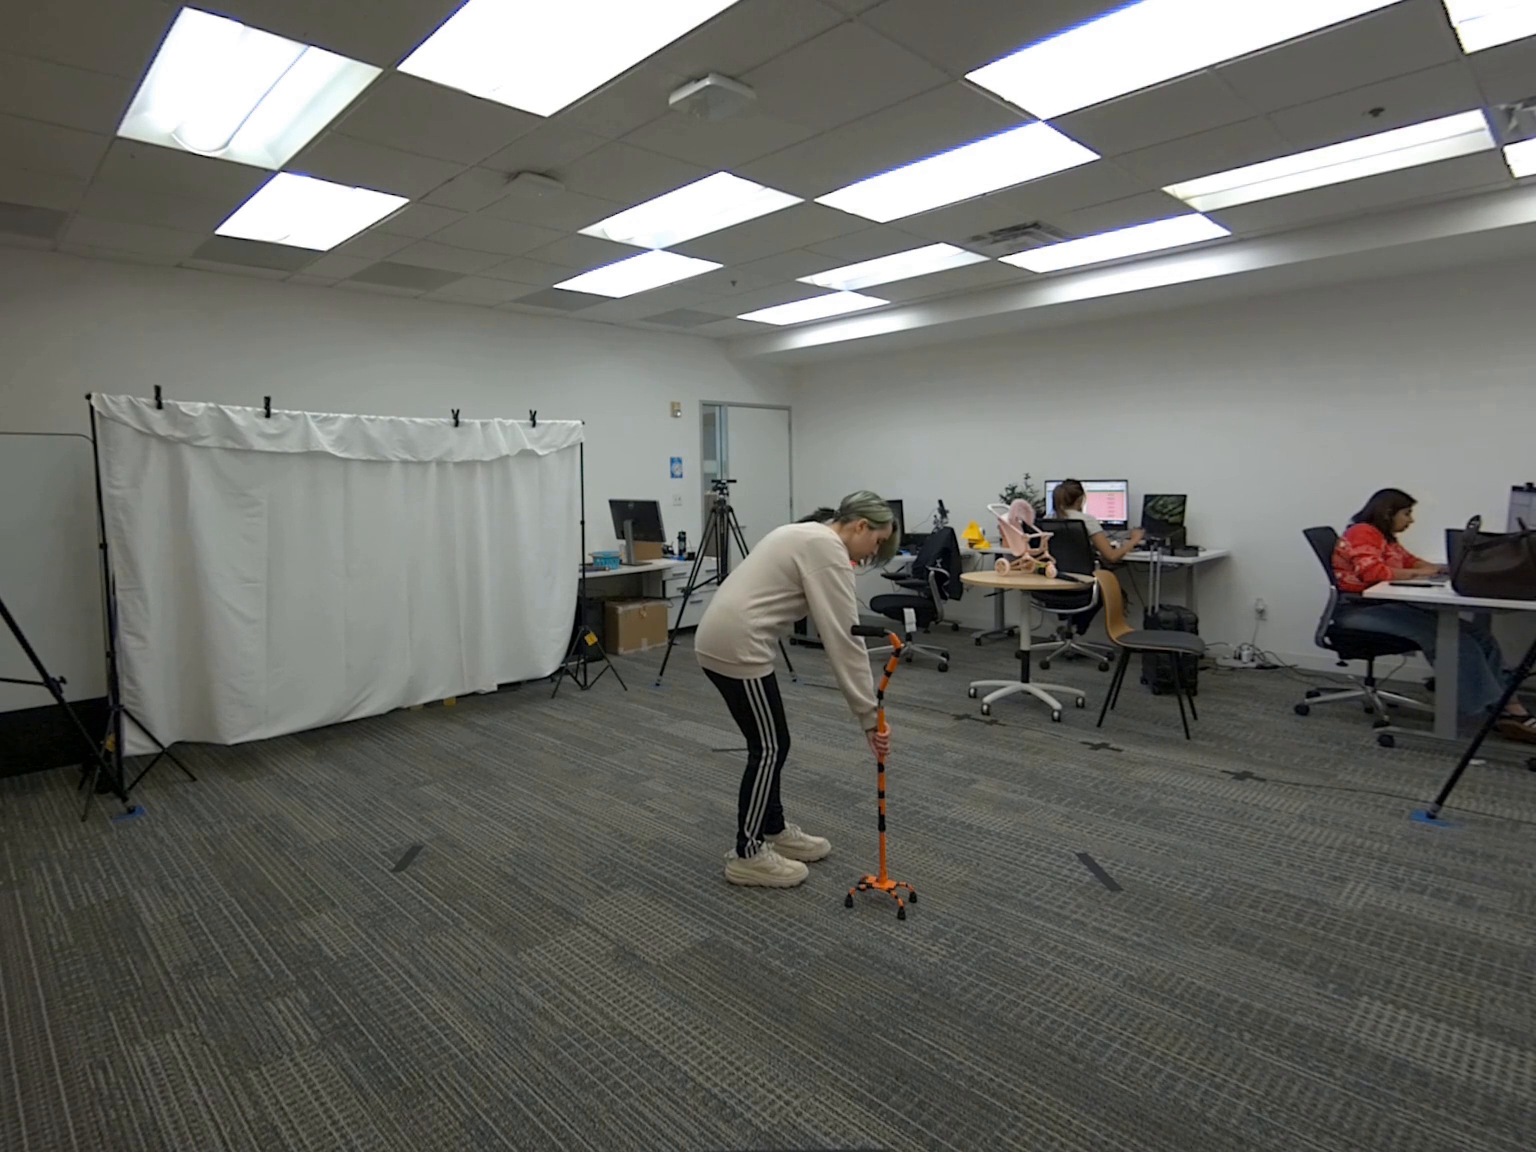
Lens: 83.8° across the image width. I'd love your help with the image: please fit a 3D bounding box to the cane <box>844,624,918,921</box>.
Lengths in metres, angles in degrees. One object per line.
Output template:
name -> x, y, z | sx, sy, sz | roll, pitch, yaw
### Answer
cane -> 0.379, 0.618, 2.779 | 0.212, 0.905, 0.148 | 2, 3, 28
